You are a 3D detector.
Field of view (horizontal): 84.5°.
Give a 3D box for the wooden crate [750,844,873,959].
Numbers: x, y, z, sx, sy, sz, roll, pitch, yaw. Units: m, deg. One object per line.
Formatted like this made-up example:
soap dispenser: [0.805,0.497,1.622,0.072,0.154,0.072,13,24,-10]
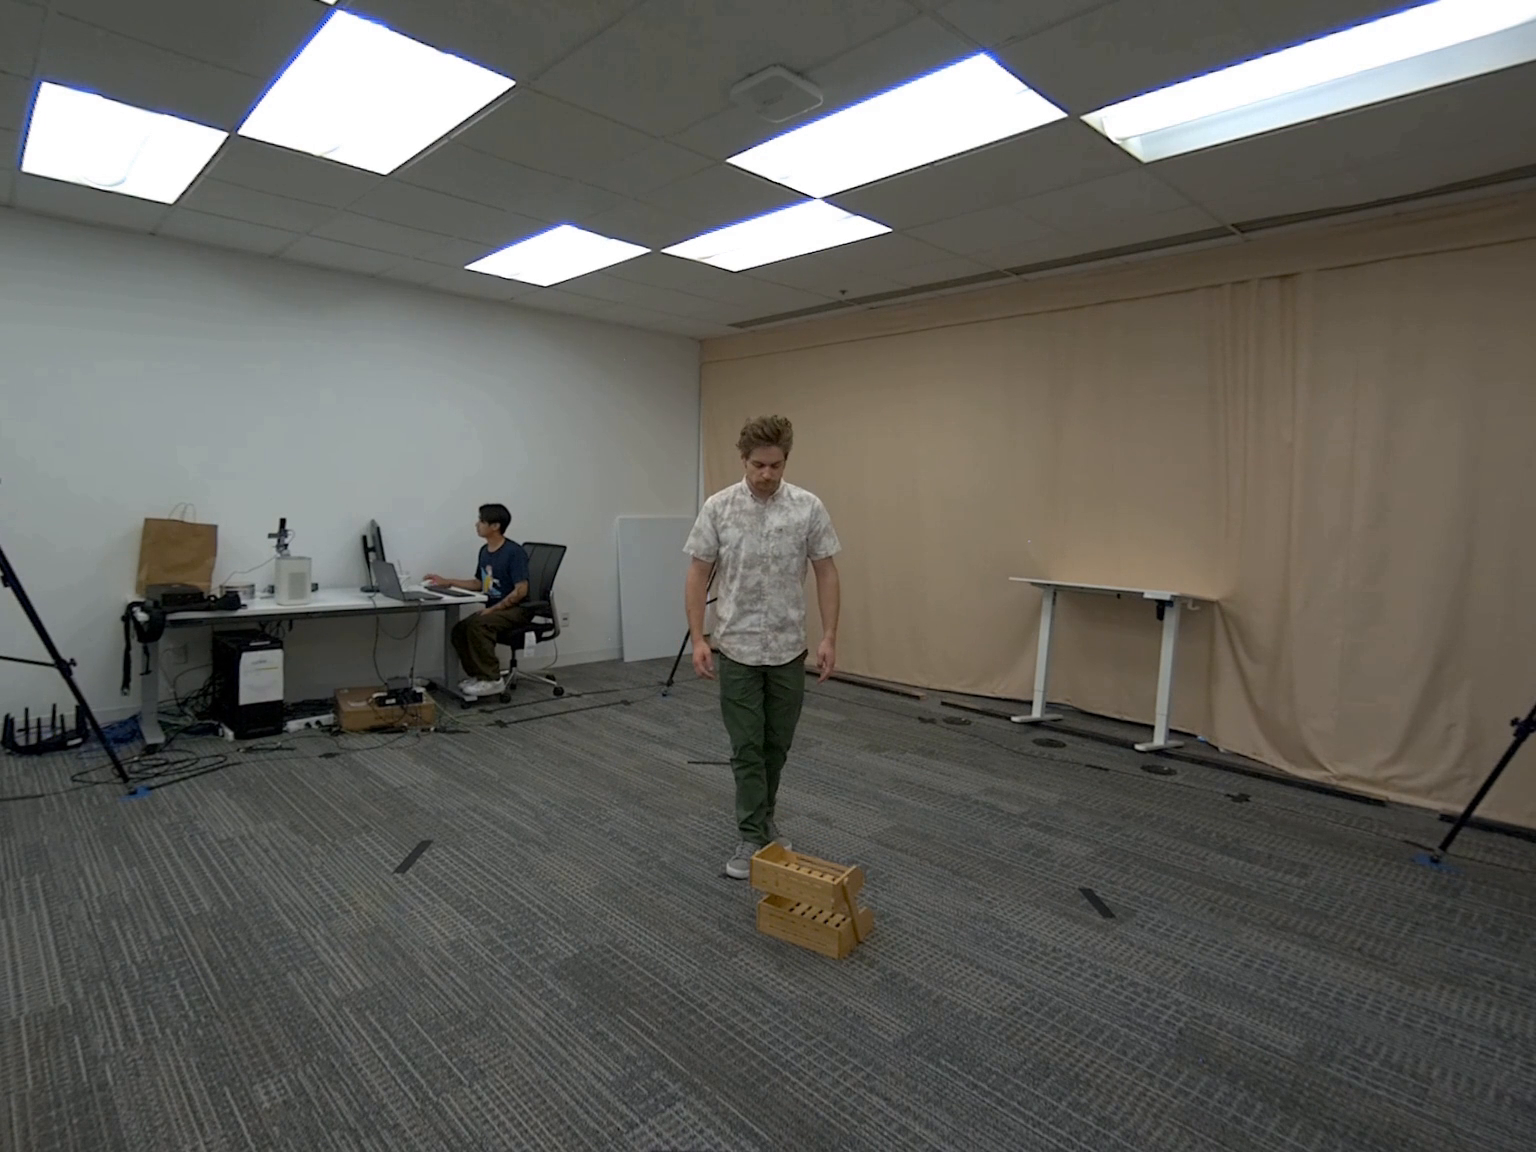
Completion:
wooden crate: [0.143,1.016,2.707,0.332,0.272,0.296,4,6,32]
